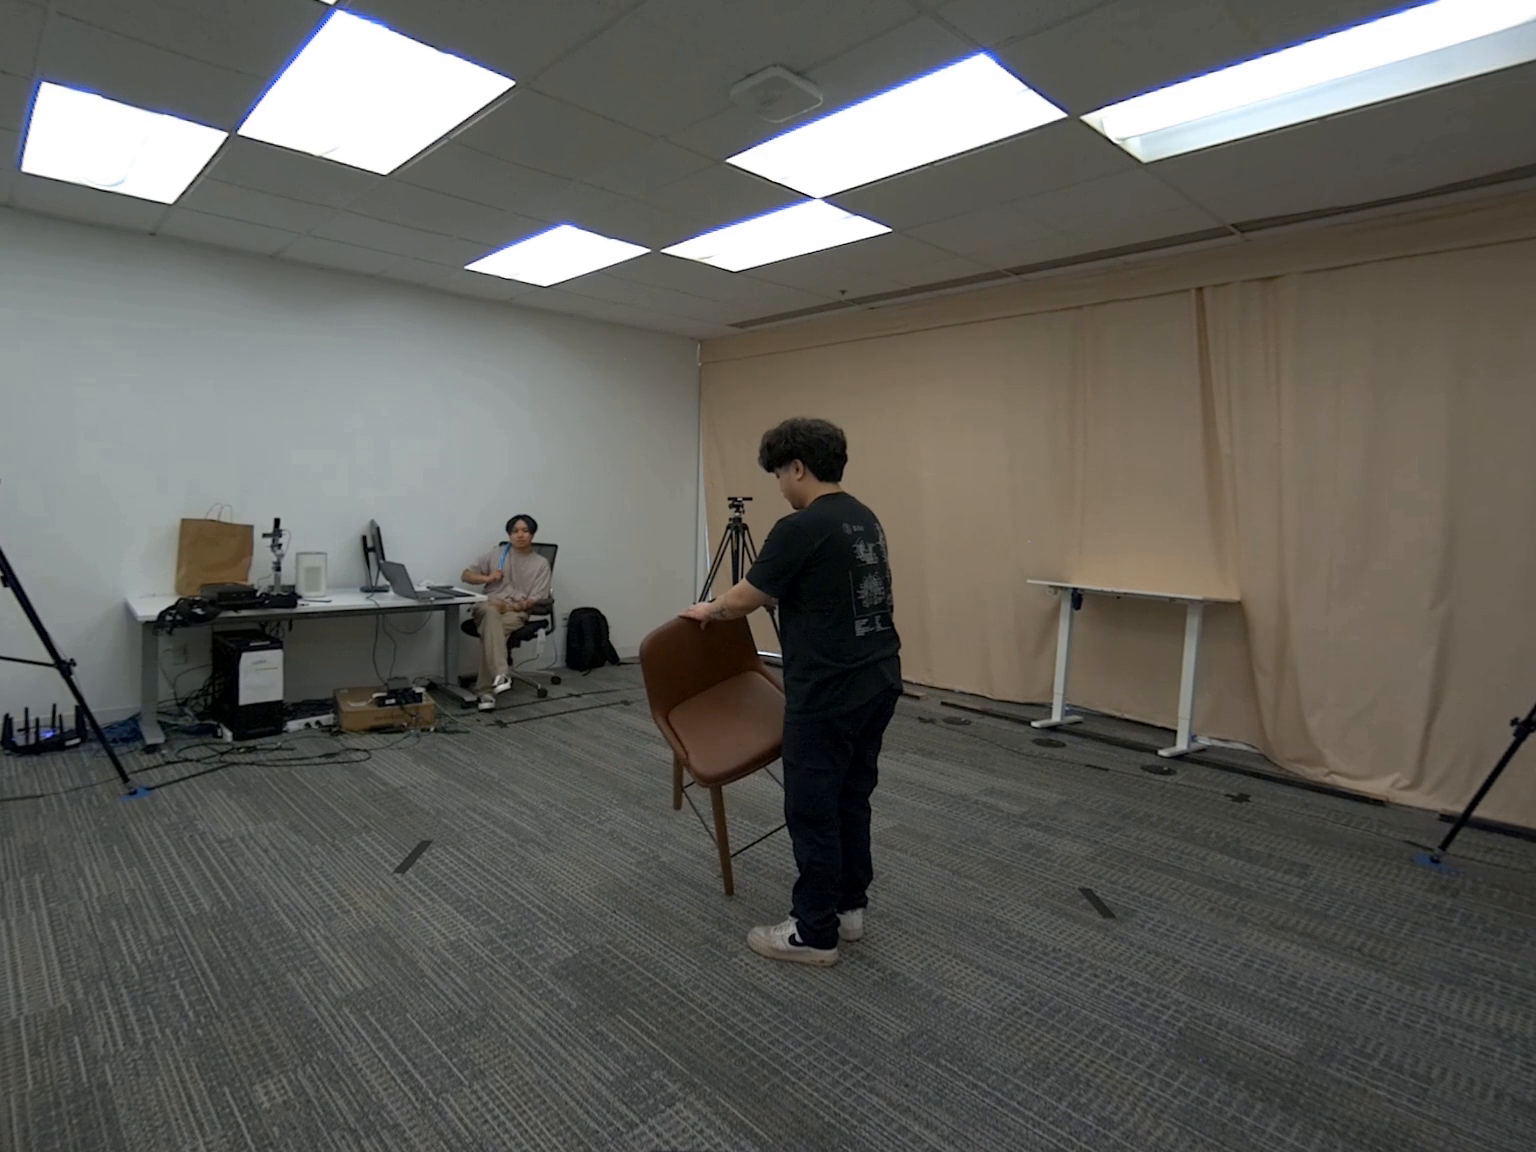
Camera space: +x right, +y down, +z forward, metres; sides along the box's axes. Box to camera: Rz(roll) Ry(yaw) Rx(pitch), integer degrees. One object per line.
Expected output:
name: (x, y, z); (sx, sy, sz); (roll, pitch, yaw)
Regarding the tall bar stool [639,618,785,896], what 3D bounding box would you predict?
tall bar stool: (-0.129, 0.595, 2.947); (0.452, 0.870, 0.483); (-22, 37, -24)
